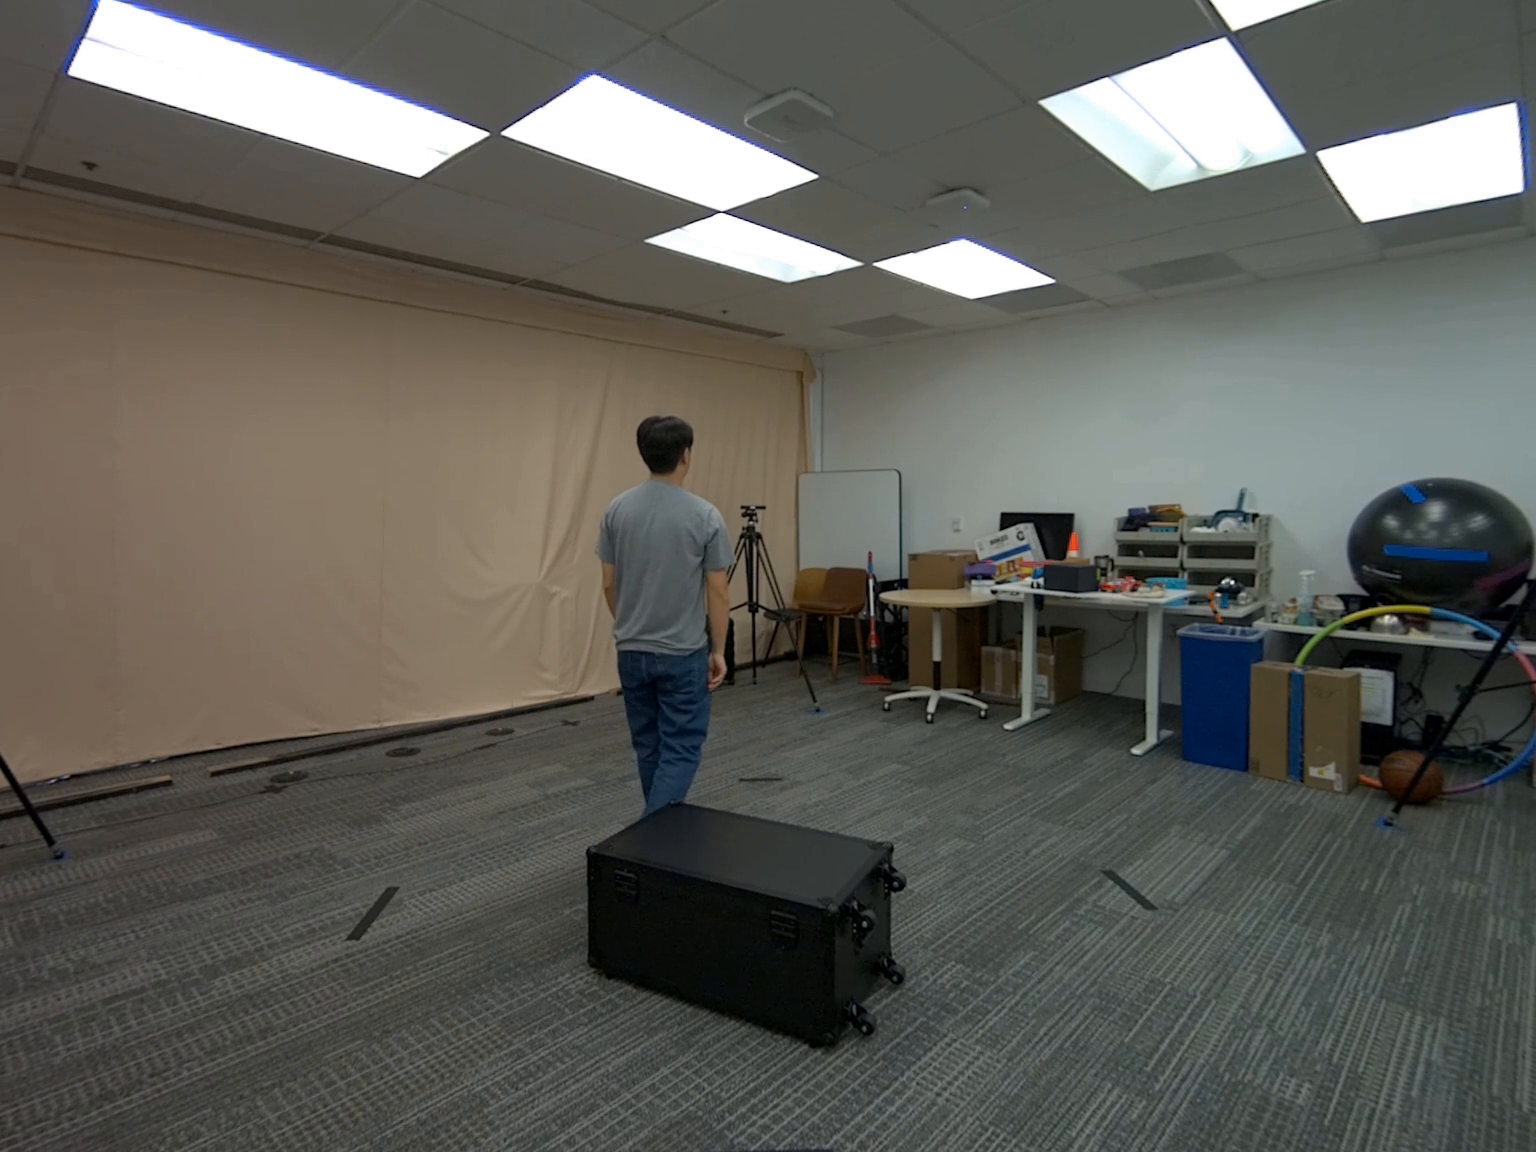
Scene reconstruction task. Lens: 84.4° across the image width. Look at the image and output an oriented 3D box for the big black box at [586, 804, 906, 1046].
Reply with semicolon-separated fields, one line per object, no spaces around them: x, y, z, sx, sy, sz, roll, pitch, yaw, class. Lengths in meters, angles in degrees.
-0.048;0.994;2.497;0.885;0.395;0.508;2;4;27;big black box
